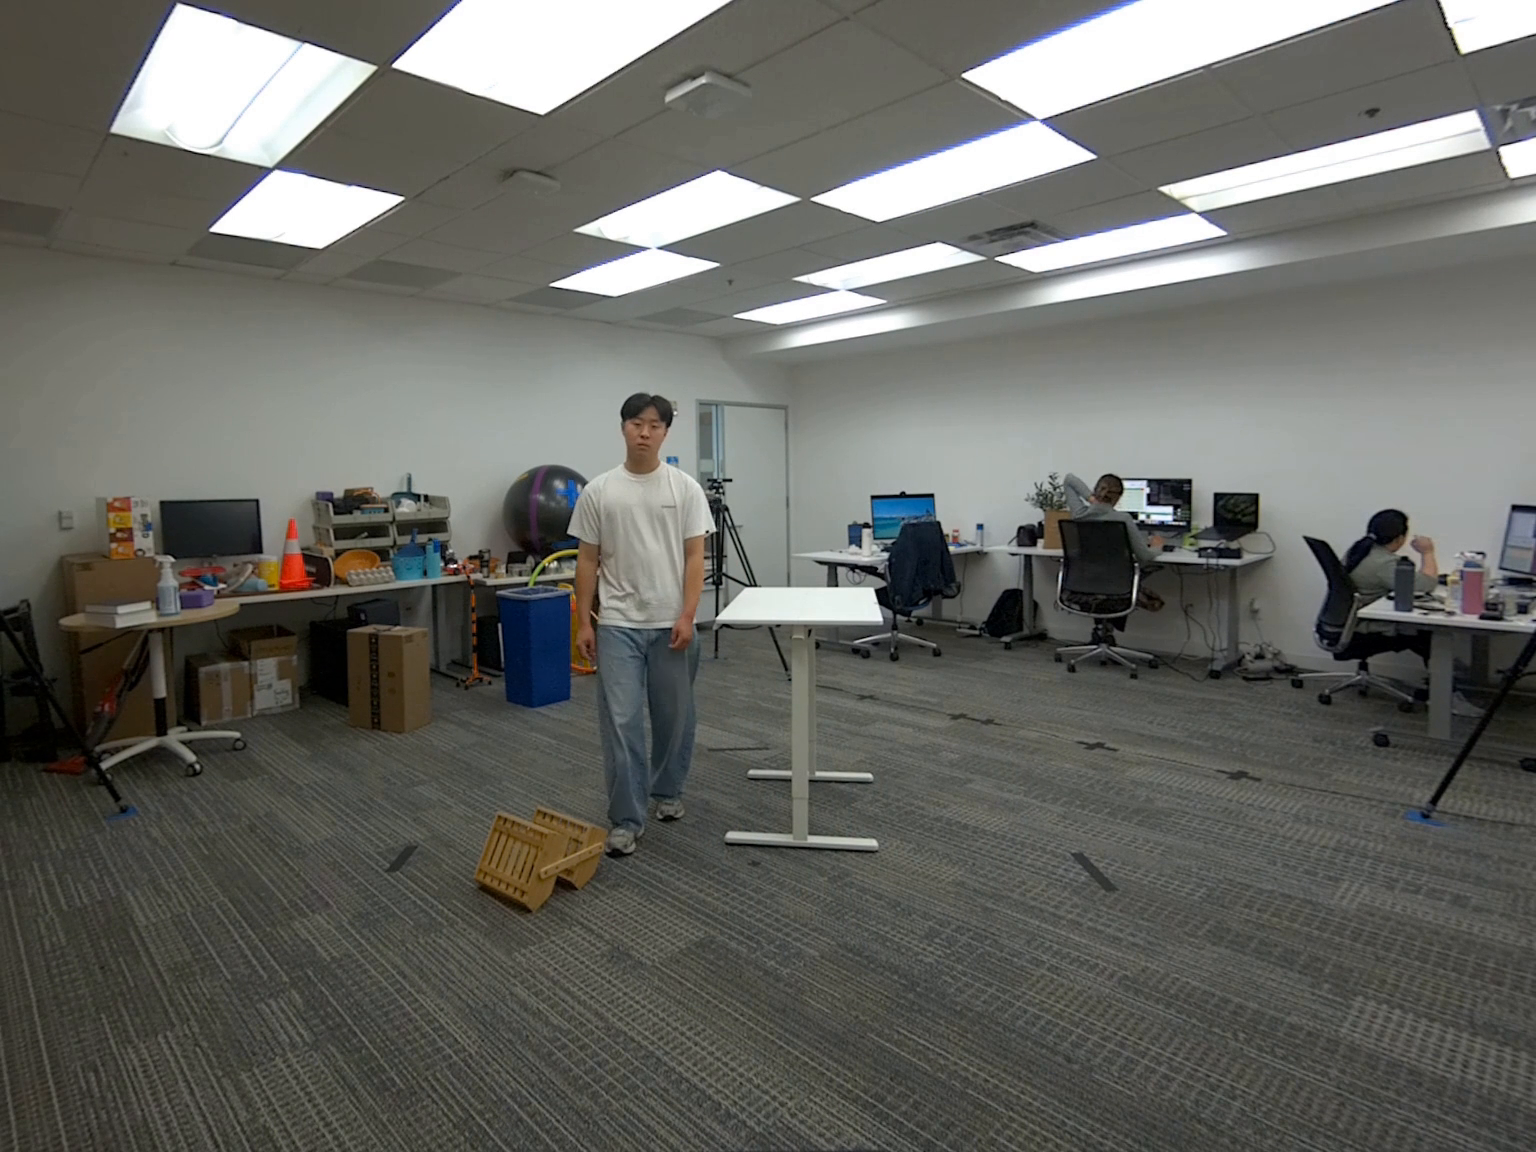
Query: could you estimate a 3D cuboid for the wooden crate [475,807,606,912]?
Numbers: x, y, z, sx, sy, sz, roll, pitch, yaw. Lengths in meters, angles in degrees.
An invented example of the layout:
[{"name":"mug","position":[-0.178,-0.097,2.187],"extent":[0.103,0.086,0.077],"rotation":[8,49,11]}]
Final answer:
[{"name":"wooden crate","position":[-0.791,0.985,2.990],"extent":[0.334,0.305,0.263],"rotation":[3,-21,39]}]
